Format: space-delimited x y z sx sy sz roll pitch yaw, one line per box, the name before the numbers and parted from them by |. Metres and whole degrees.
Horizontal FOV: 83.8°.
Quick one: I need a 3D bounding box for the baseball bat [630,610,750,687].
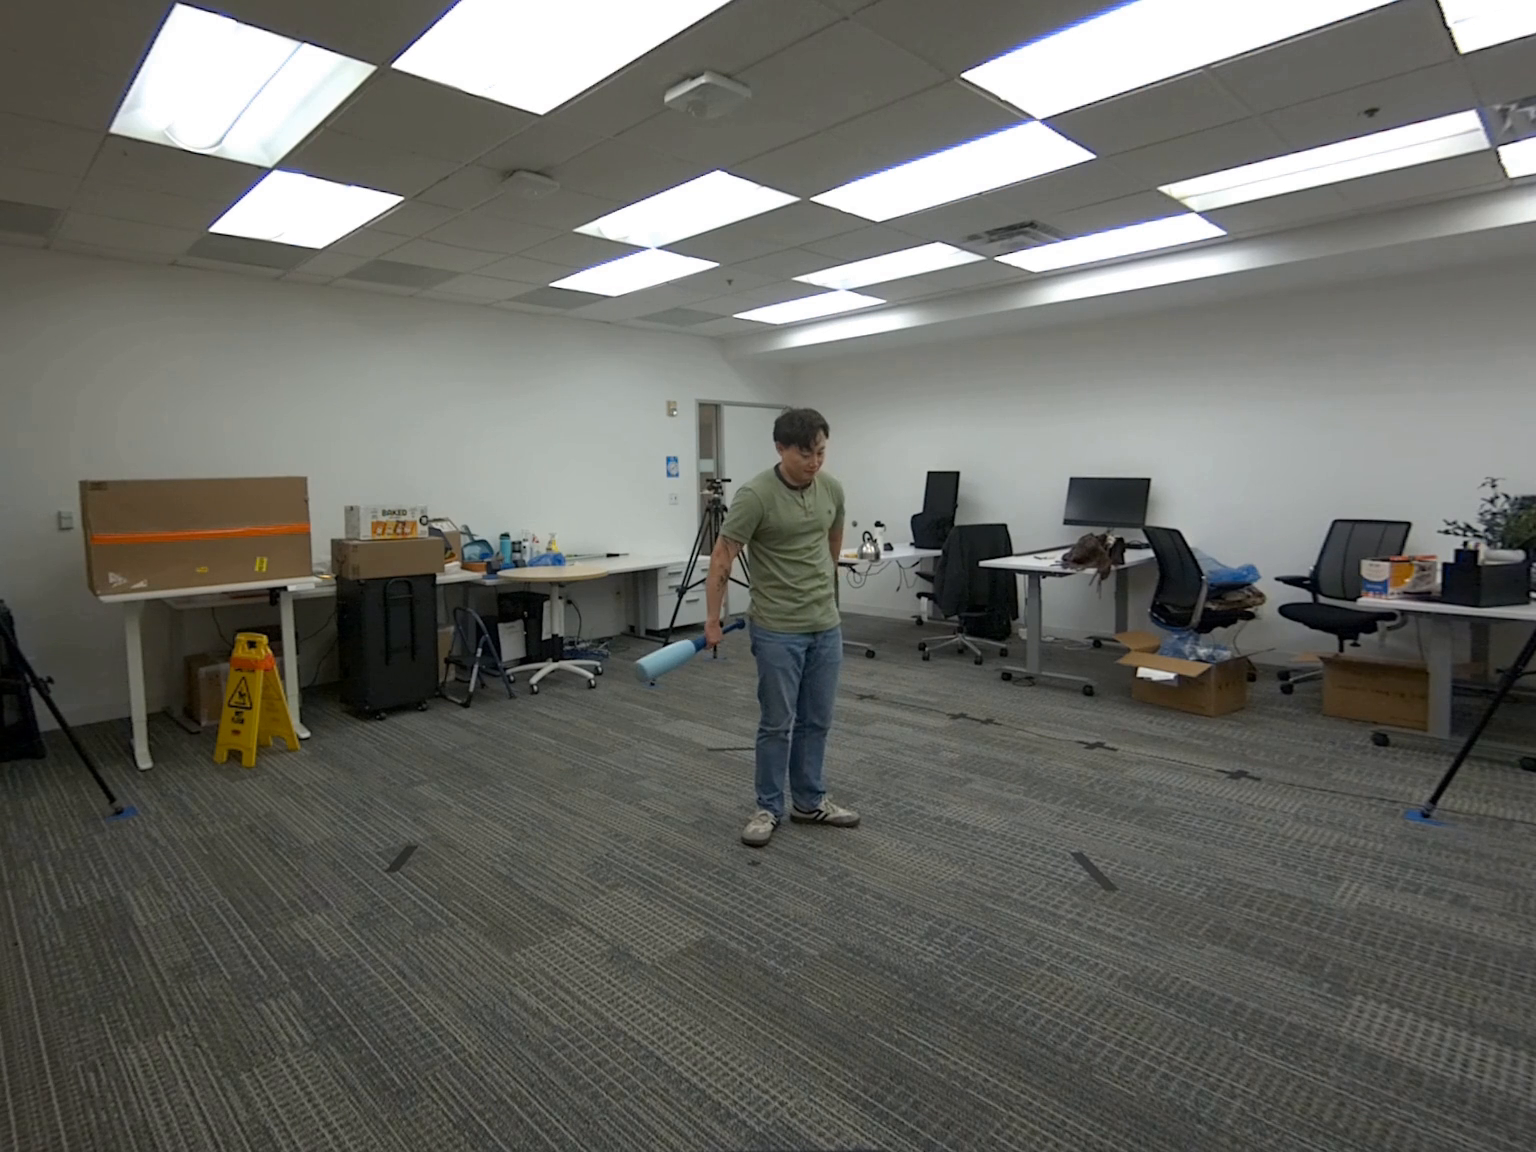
baseball bat | -0.276 0.262 3.233 0.092 0.088 0.534 4 20 44
